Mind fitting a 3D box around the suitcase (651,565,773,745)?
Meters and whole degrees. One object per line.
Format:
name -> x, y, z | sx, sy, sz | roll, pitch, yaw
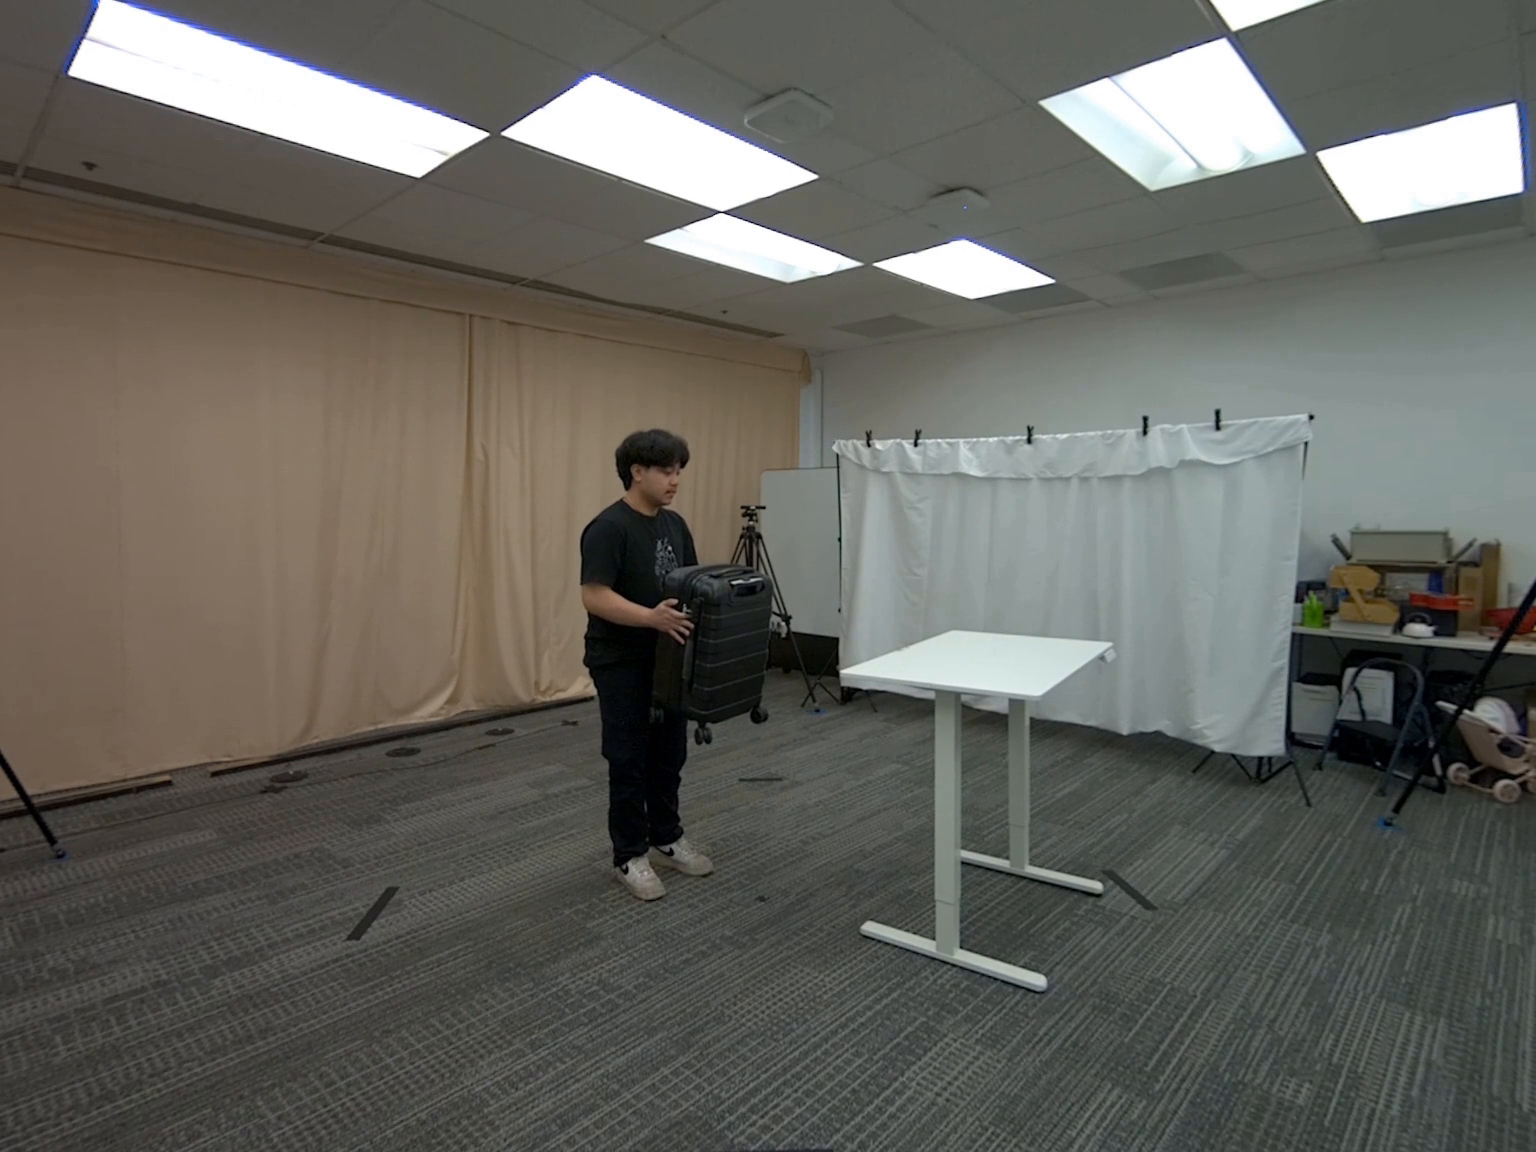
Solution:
suitcase -> -0.180, 0.237, 2.885 | 0.257, 0.546, 0.365 | 13, 13, 35
